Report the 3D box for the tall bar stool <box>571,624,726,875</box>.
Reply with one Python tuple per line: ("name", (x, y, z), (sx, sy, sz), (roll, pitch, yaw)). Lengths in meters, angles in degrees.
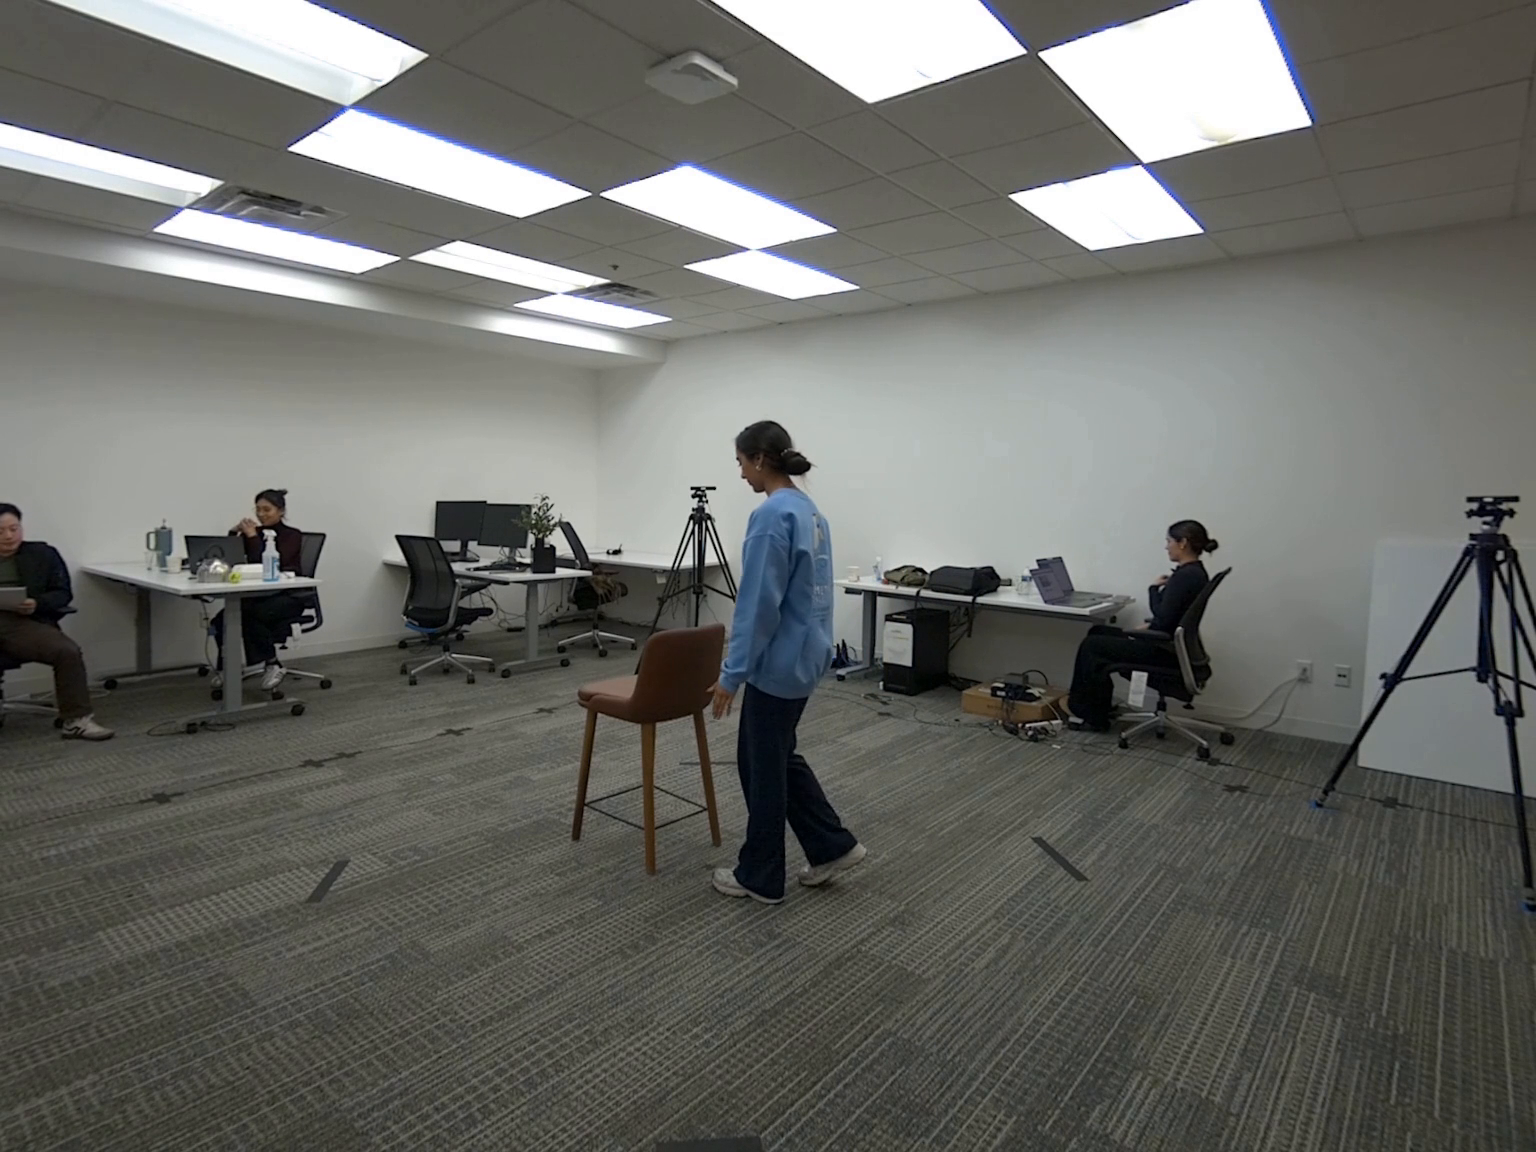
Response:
("tall bar stool", (-0.469, 0.604, 3.306), (0.484, 0.886, 0.442), (6, 6, 42))
